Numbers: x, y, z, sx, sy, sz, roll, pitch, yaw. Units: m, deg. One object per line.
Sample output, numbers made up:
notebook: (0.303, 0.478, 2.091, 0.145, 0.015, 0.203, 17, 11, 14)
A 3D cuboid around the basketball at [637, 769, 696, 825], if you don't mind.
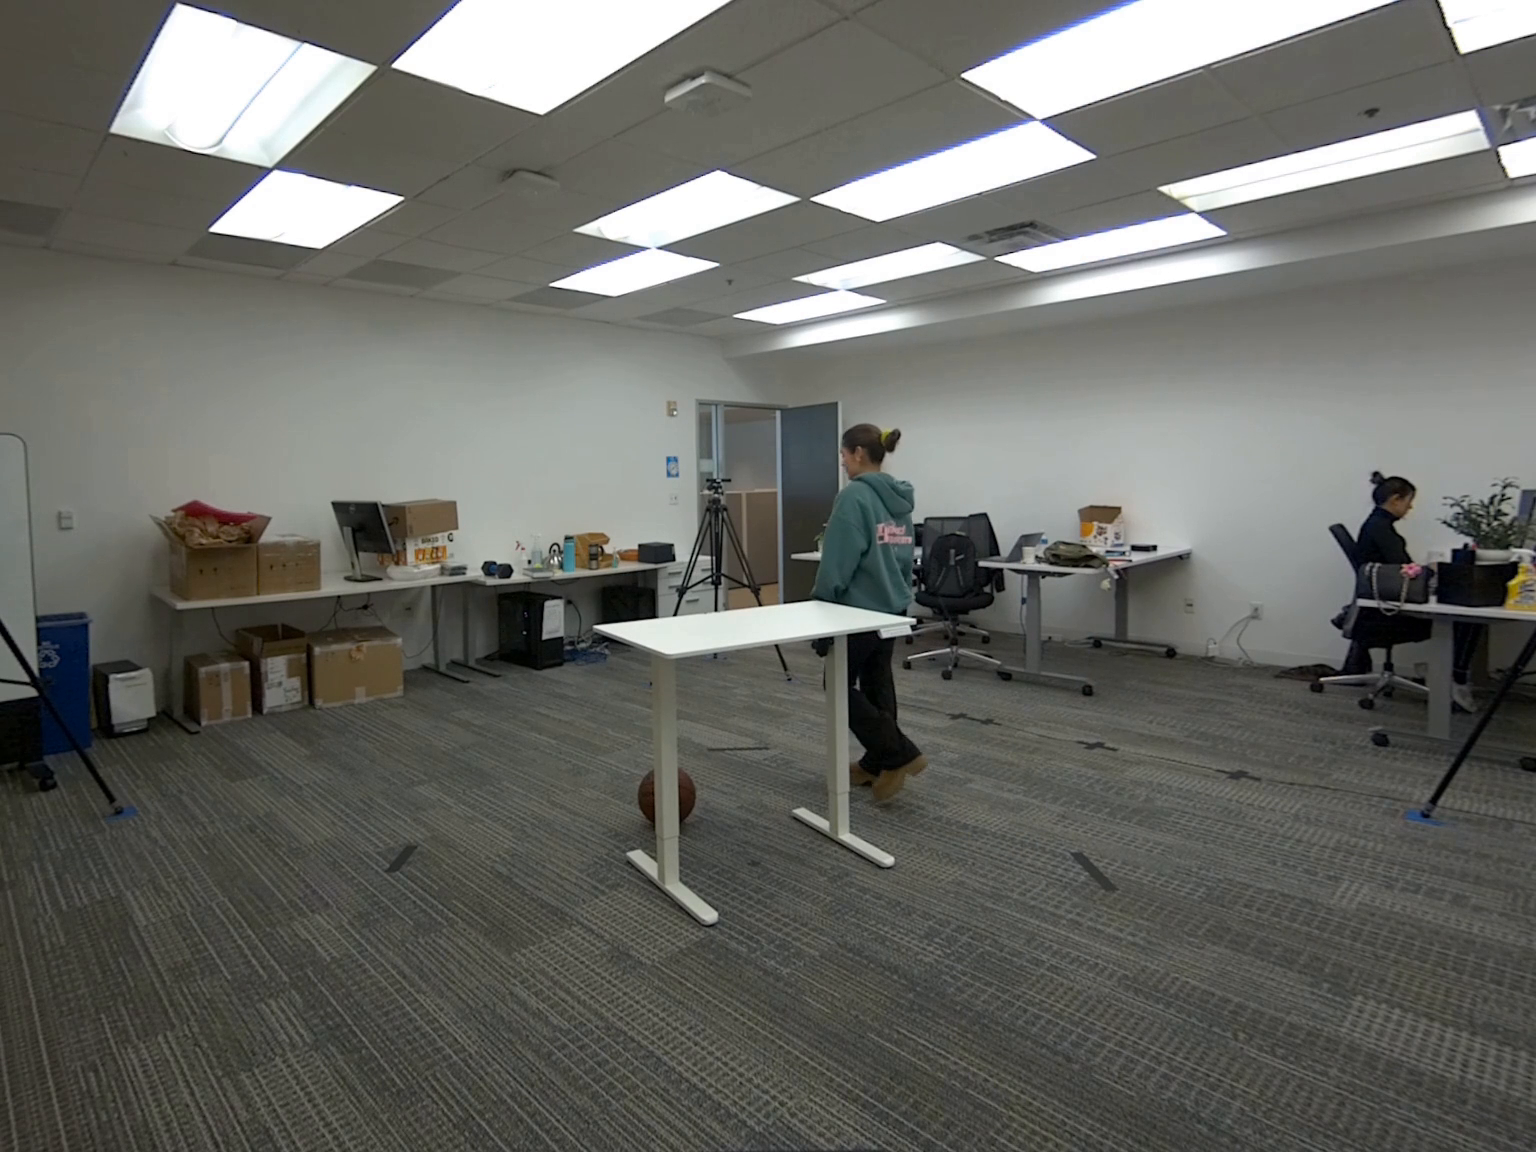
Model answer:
basketball: (-0.415, 0.897, 3.475, 0.236, 0.235, 0.237, -1, 5, -2)
